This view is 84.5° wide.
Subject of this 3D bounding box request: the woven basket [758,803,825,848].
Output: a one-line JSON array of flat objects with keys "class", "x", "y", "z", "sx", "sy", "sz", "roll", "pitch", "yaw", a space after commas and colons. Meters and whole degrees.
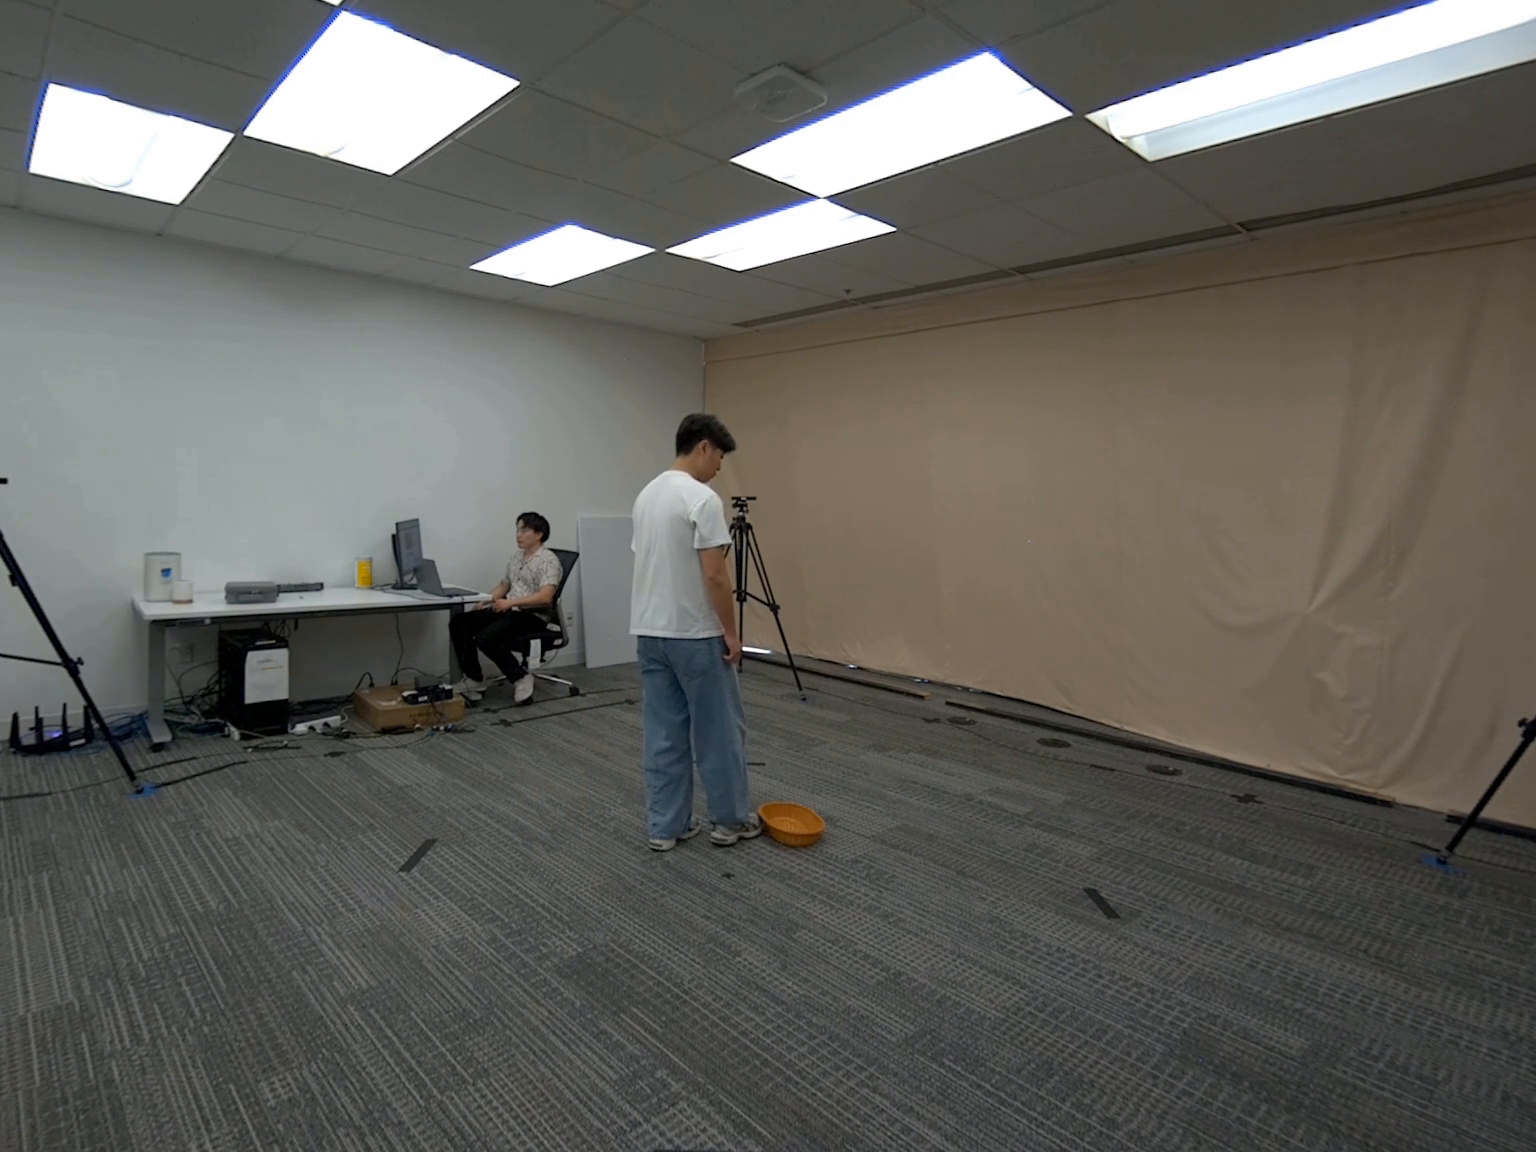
[{"class": "woven basket", "x": 0.089, "y": 1.032, "z": 3.499, "sx": 0.249, "sy": 0.073, "sz": 0.356, "roll": 3, "pitch": 4, "yaw": -18}]
